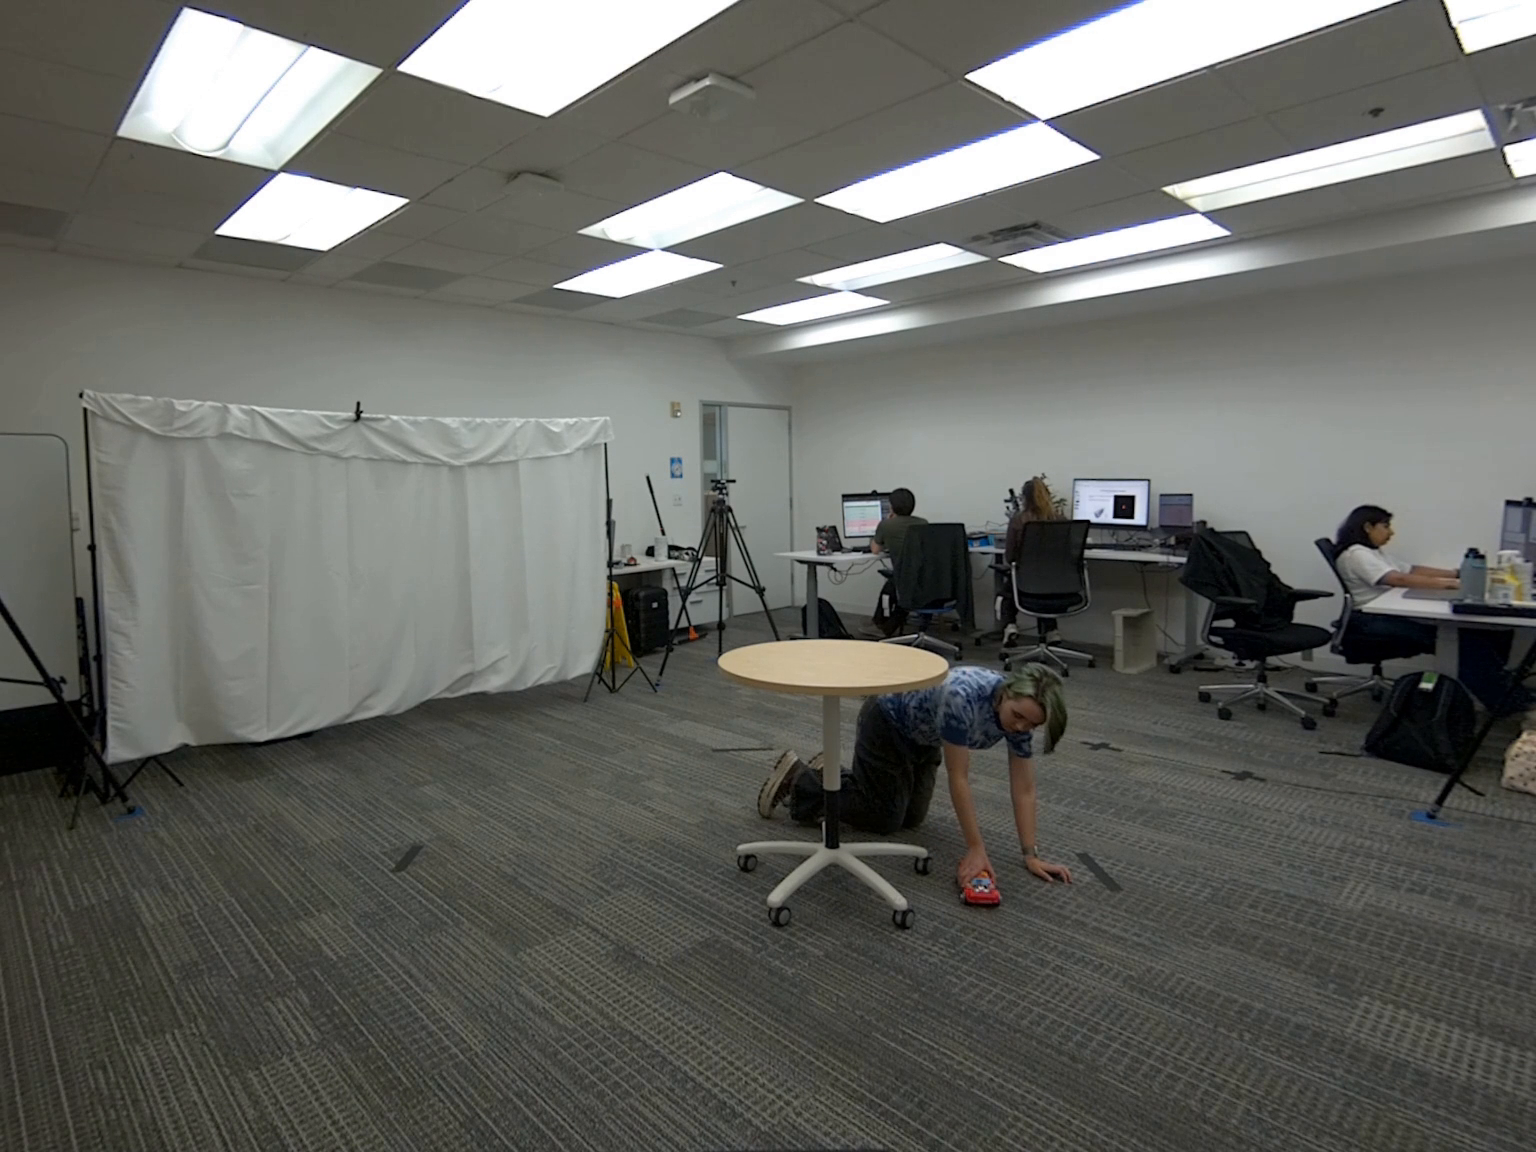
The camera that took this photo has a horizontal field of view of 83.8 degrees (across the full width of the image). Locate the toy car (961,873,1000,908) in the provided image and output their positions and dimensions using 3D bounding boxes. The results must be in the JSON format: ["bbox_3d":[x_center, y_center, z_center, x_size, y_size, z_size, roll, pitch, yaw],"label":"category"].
[{"bbox_3d":[0.714,1.040,2.871,0.131,0.082,0.256,-1,15,6],"label":"toy car"}]
